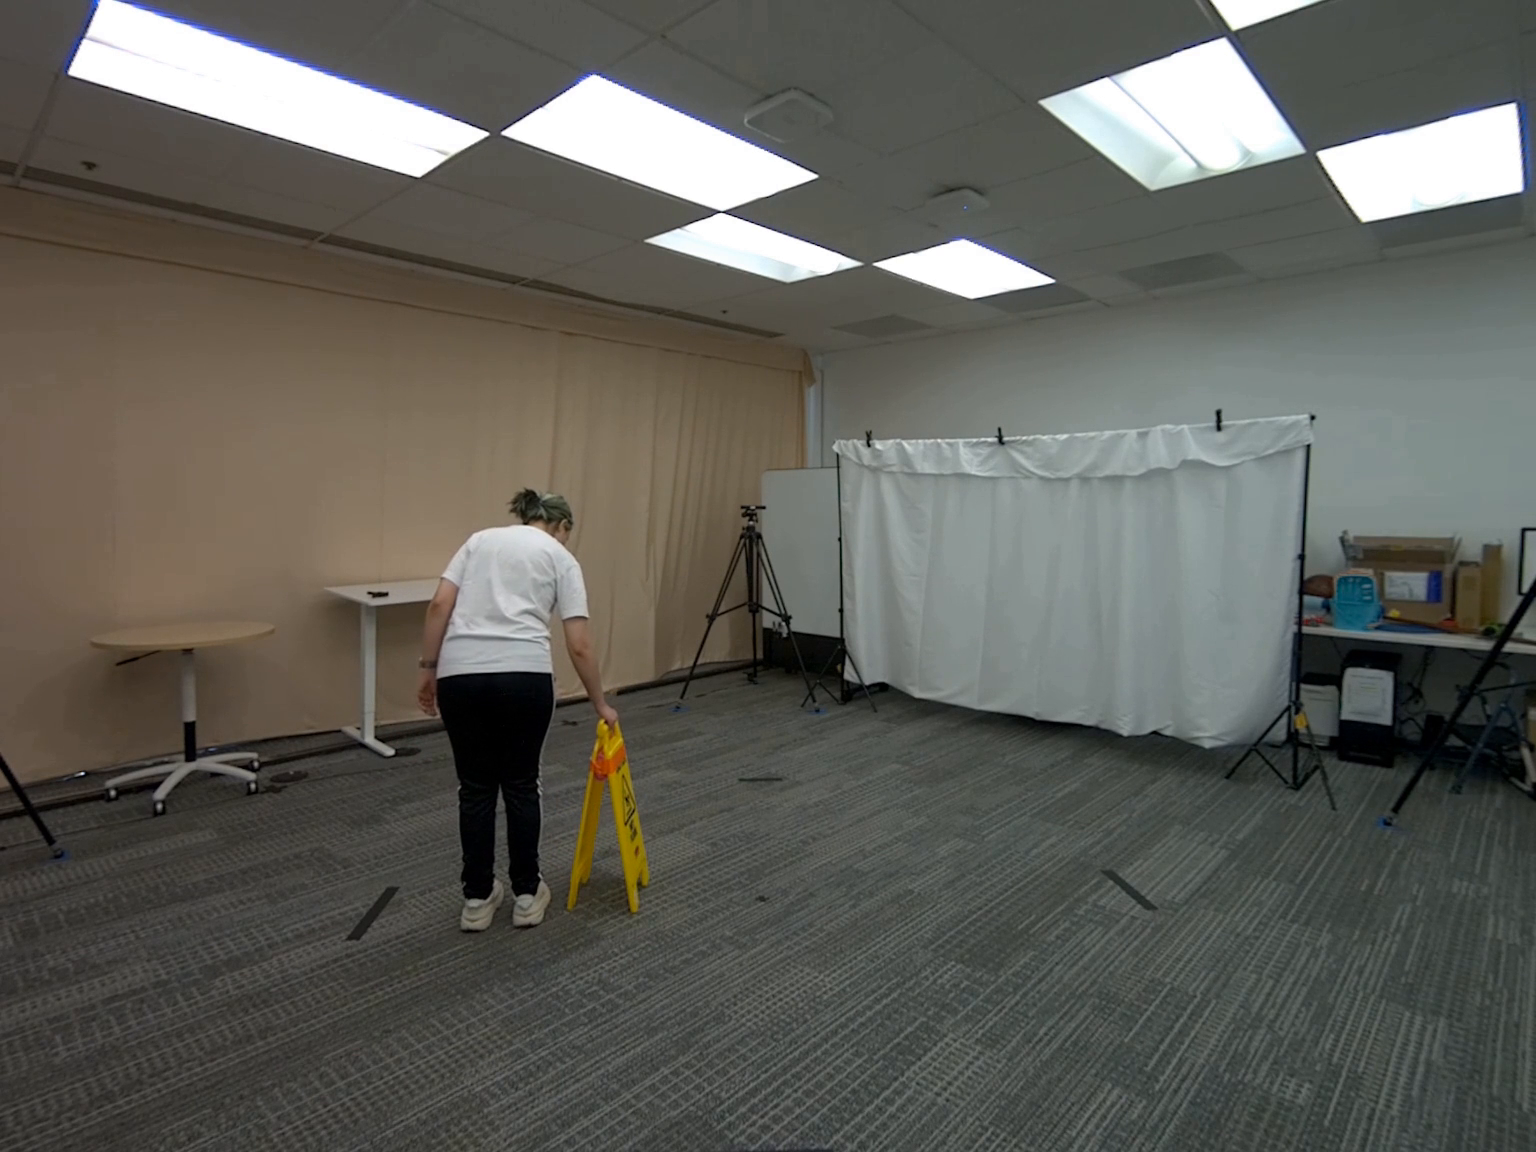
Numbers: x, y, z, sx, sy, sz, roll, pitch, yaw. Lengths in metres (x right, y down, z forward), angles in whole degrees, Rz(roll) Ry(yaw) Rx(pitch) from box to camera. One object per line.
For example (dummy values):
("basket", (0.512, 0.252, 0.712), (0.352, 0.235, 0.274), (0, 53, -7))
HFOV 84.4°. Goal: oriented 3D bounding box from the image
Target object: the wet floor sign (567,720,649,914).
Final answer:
("wet floor sign", (-0.568, 0.816, 3.008), (0.291, 0.644, 0.282), (1, 5, 4))
